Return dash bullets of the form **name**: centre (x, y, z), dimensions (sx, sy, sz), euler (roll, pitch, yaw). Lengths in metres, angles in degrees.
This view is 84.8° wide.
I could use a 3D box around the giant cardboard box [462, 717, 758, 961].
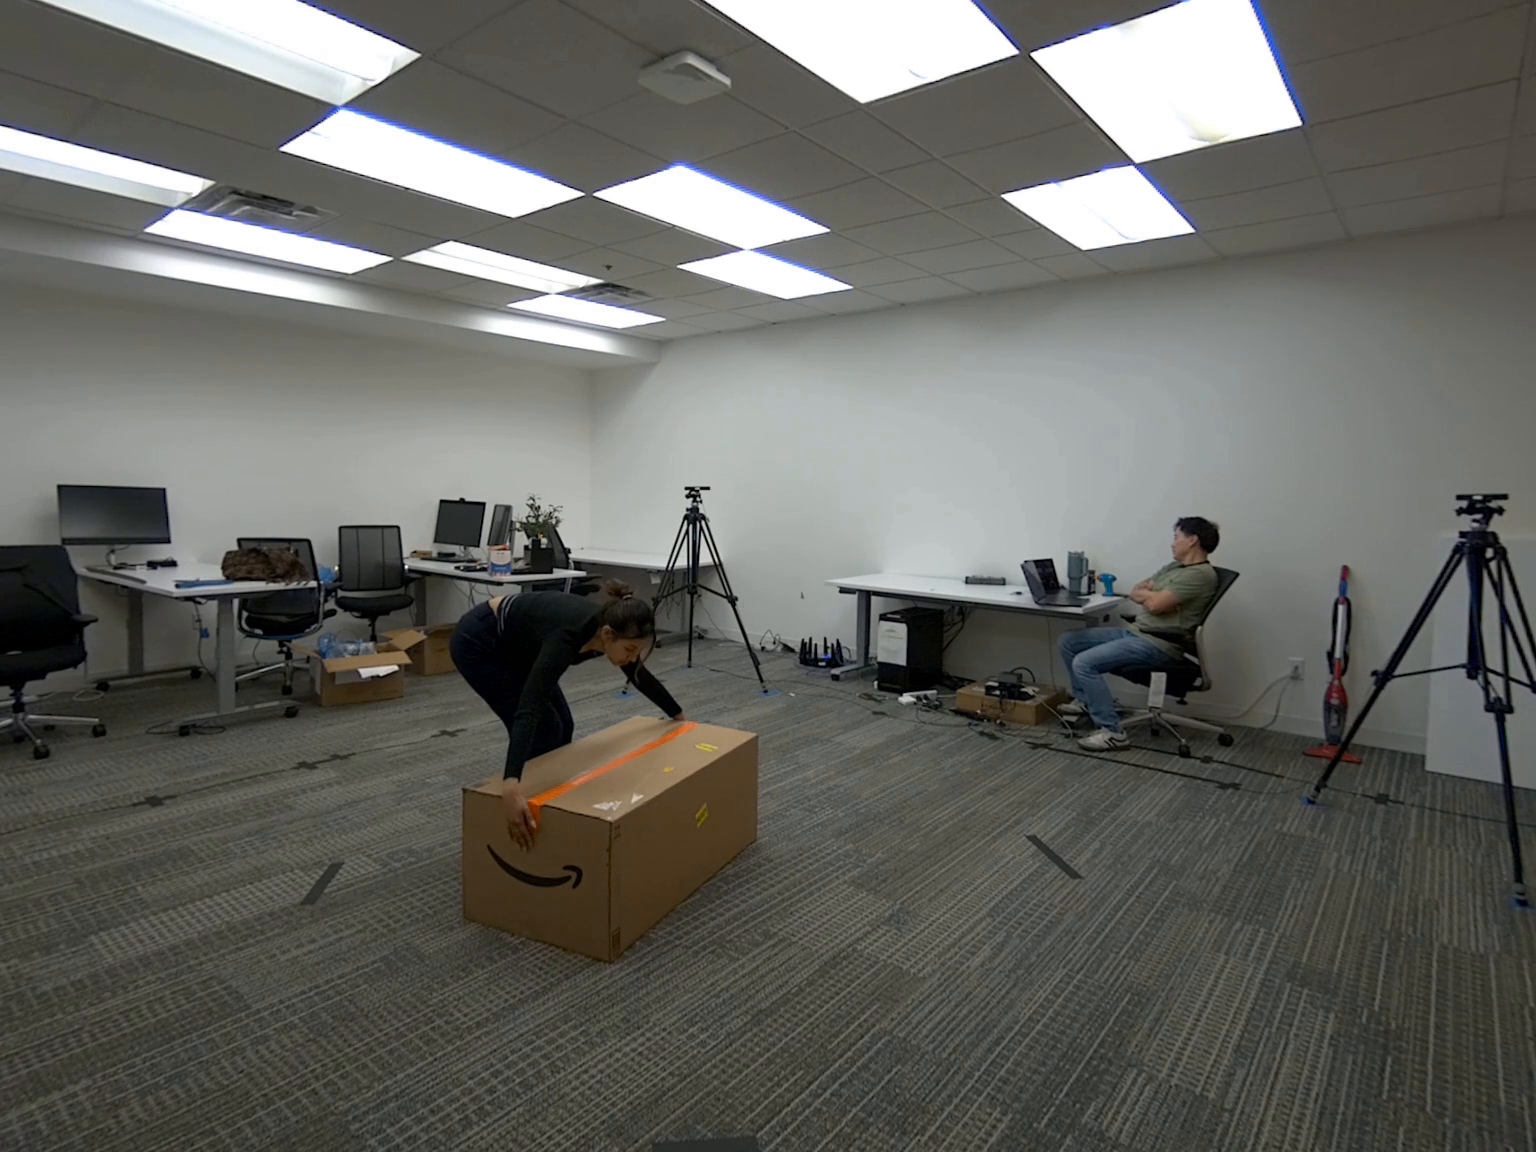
- **giant cardboard box**: centre (-0.515, 0.855, 3.036), dimensions (0.592, 0.425, 1.003), euler (2, 5, 25)
